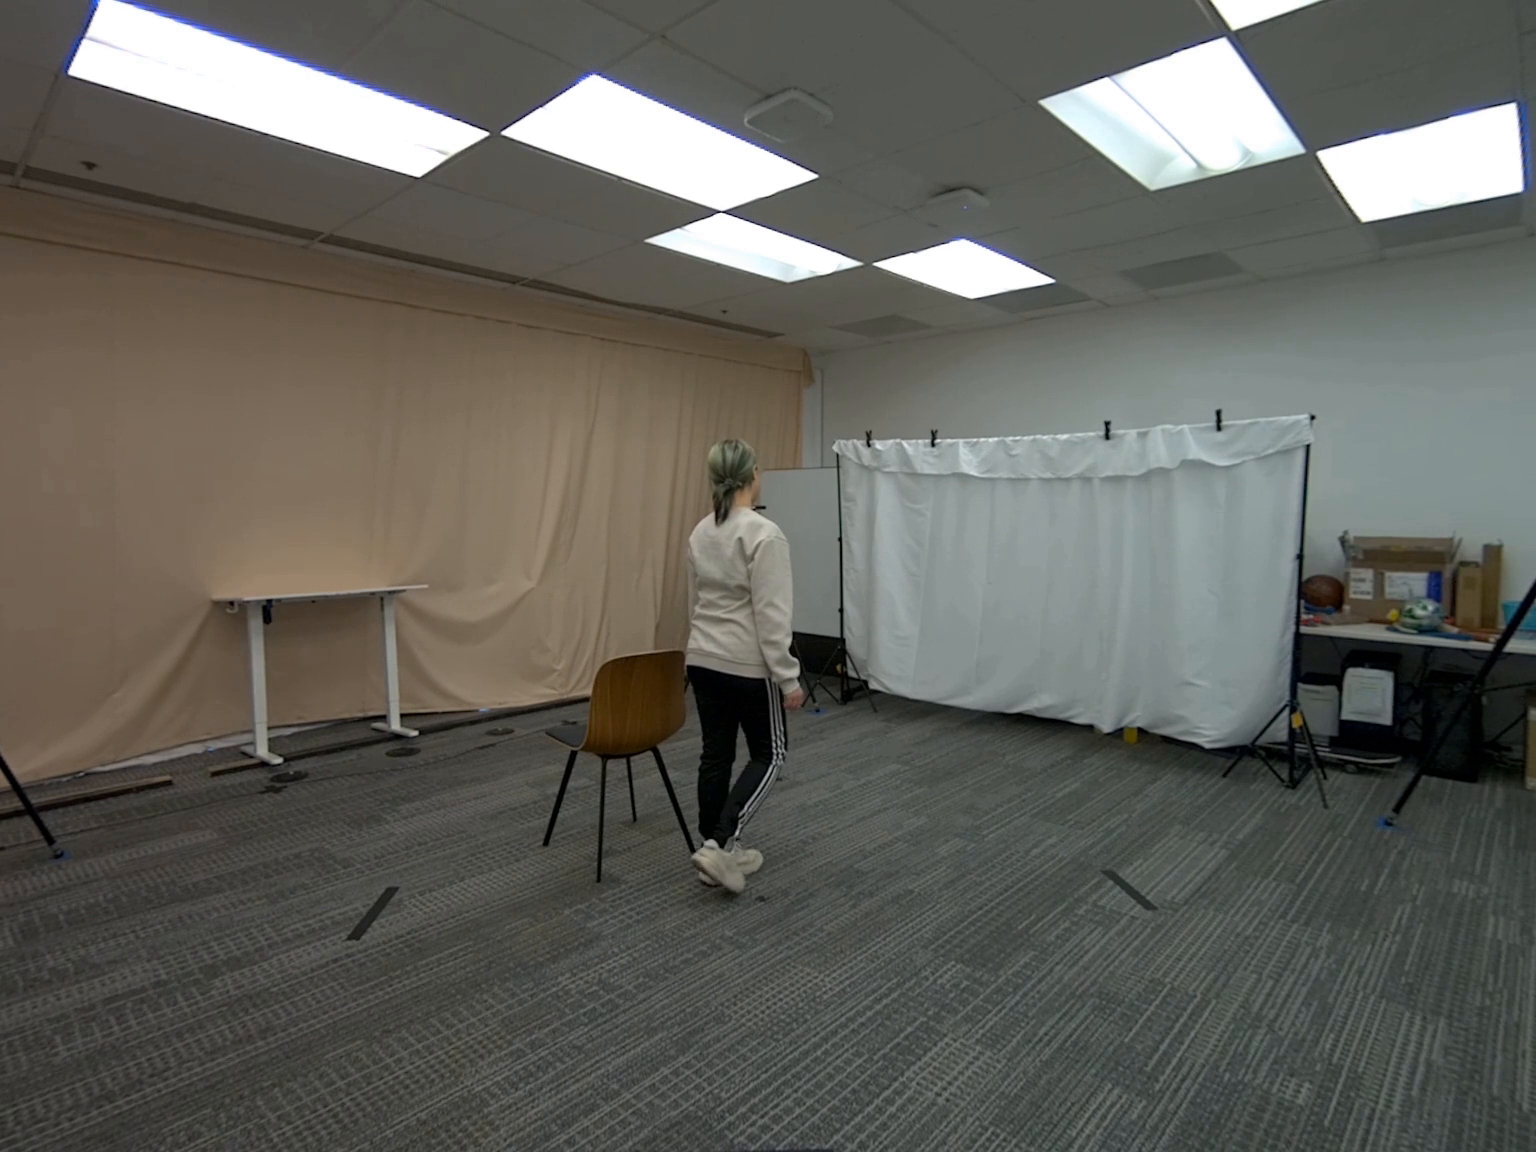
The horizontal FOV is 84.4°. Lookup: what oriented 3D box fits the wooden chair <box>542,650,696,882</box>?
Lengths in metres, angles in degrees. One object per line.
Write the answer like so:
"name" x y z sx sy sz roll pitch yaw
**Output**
"wooden chair" -0.616 0.684 3.409 0.464 0.874 0.541 -3 9 -39
